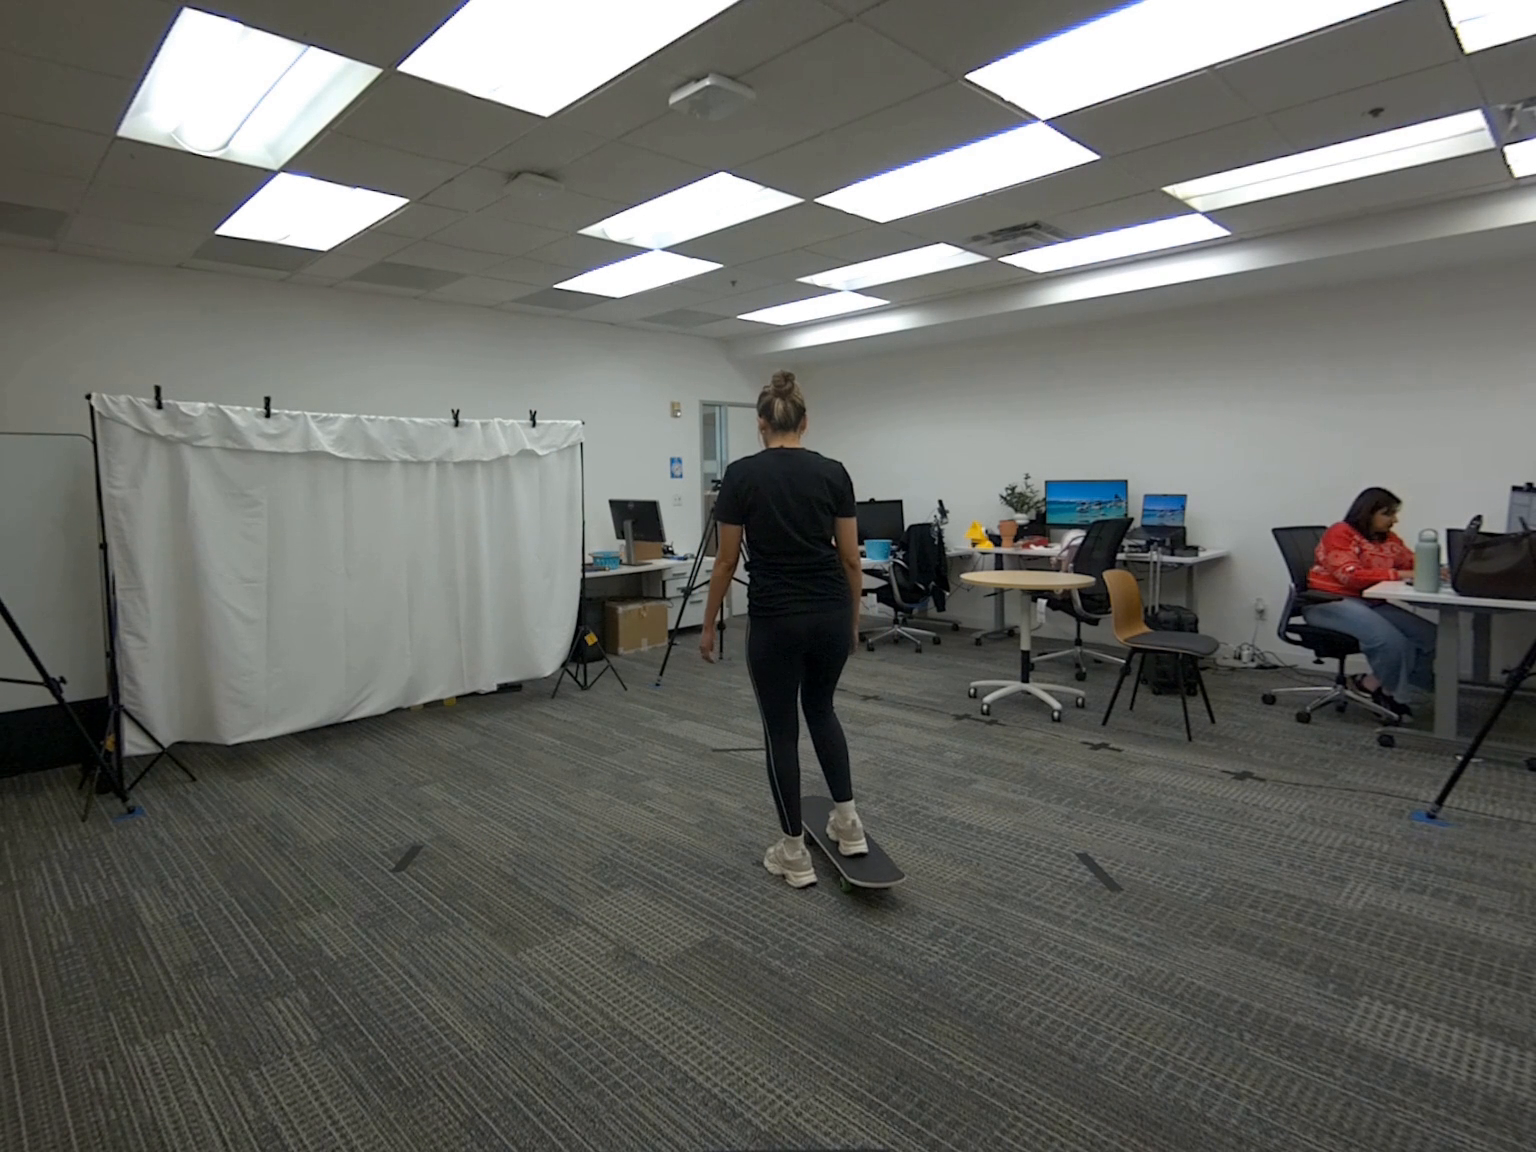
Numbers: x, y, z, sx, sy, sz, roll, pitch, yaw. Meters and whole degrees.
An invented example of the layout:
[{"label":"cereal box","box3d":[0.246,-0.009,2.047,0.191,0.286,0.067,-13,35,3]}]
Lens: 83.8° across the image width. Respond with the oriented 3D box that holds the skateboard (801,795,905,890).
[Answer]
[{"label":"skateboard","box3d":[0.286,0.987,3.092,0.191,0.110,0.797,-3,6,-14]}]
